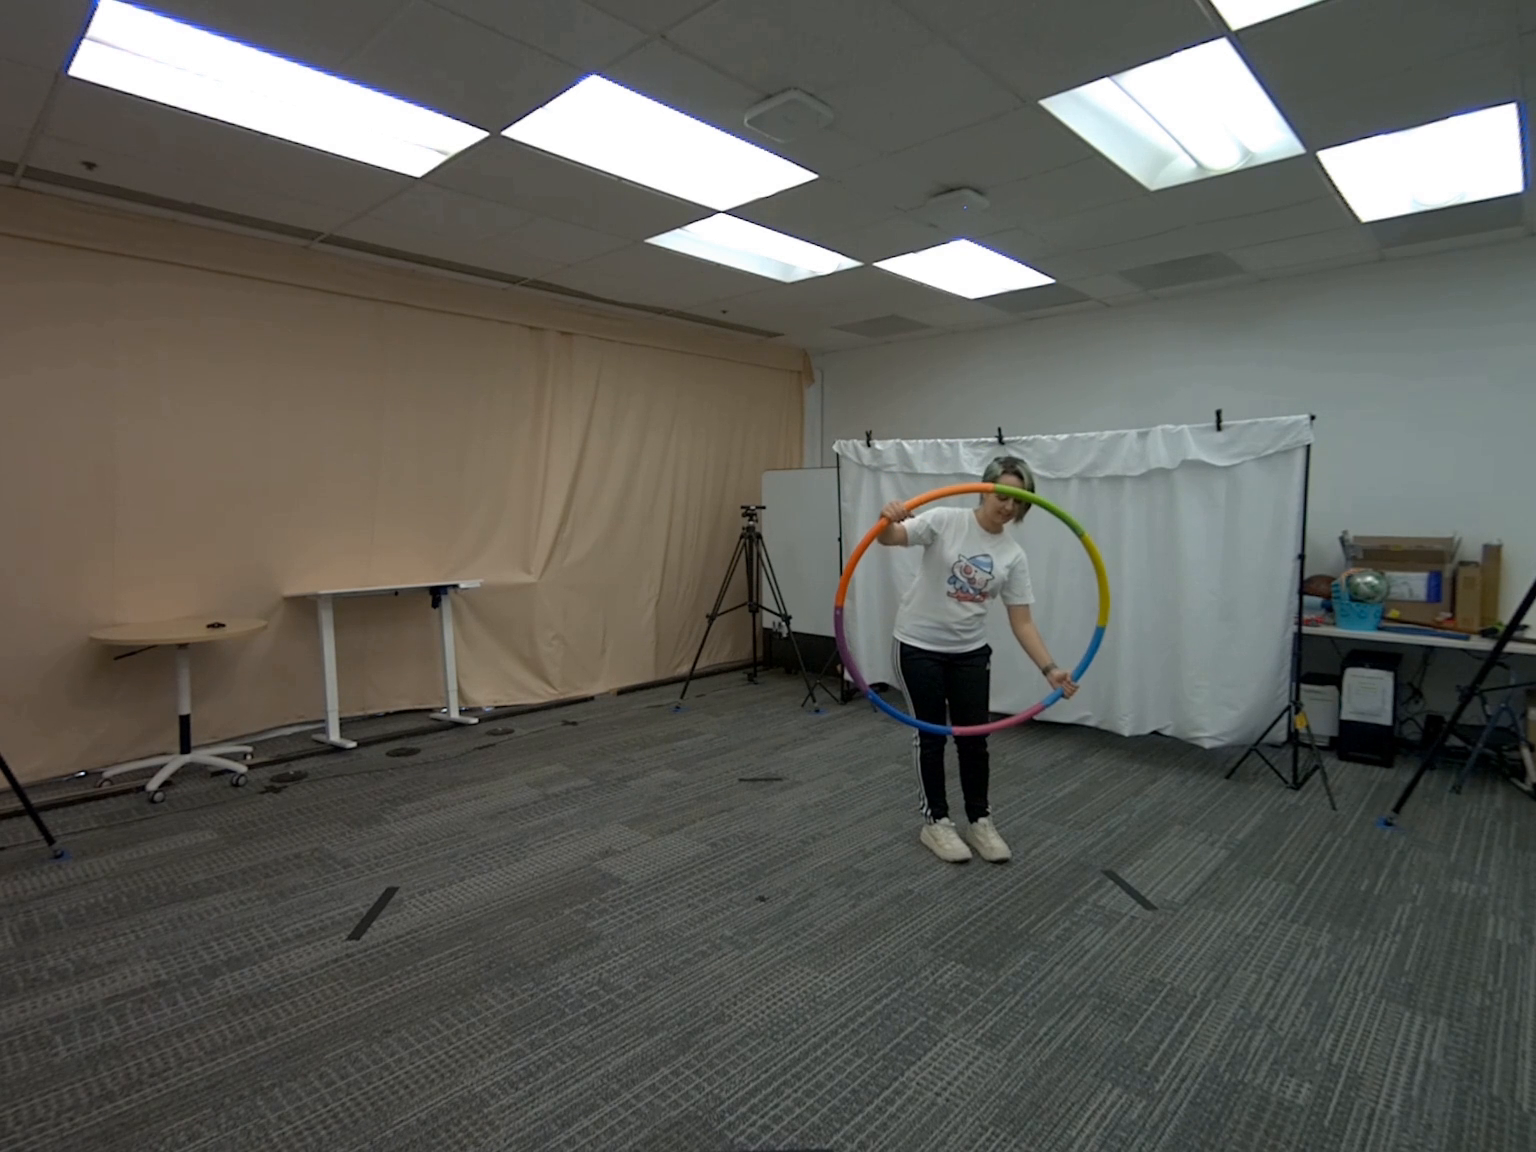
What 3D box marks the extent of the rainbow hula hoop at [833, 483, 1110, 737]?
[{"bbox_3d":[0.740,0.148,3.067,0.980,0.968,0.036,1,18,2],"label":"rainbow hula hoop"}]
